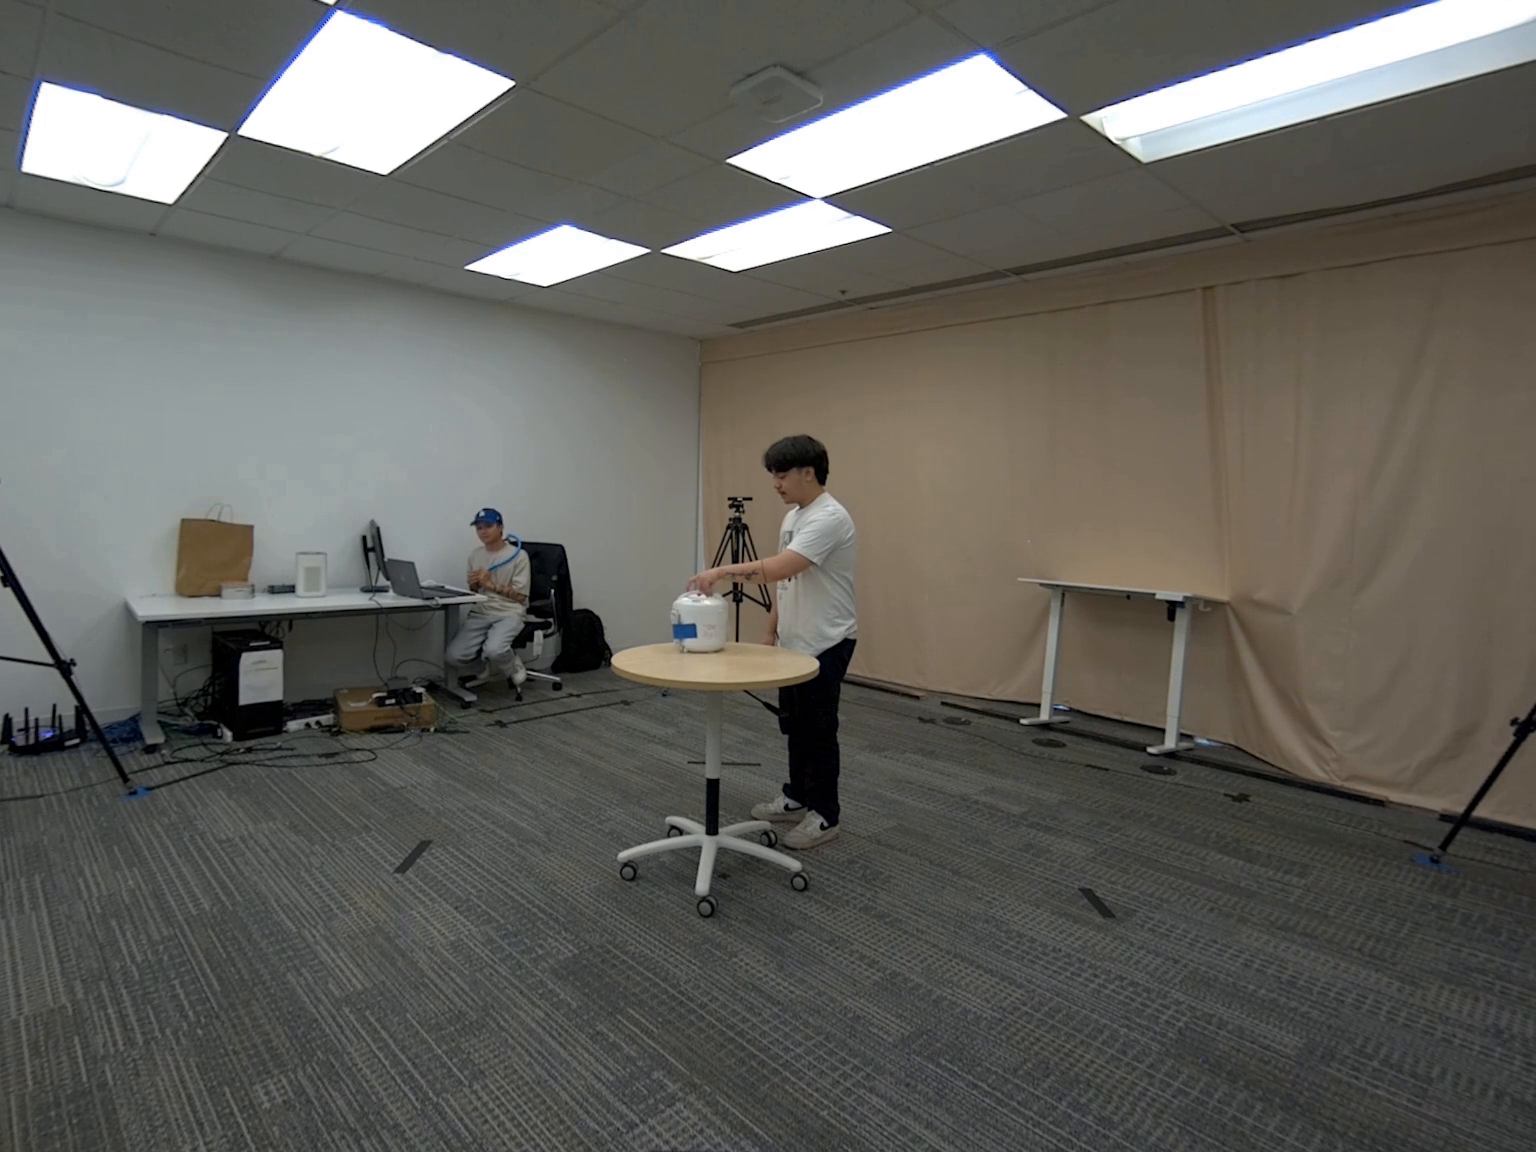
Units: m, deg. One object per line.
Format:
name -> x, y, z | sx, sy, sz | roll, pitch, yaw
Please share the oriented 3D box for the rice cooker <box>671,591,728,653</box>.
rice cooker -> -0.275, 0.172, 3.308 | 0.221, 0.232, 0.217 | 2, 5, 3
